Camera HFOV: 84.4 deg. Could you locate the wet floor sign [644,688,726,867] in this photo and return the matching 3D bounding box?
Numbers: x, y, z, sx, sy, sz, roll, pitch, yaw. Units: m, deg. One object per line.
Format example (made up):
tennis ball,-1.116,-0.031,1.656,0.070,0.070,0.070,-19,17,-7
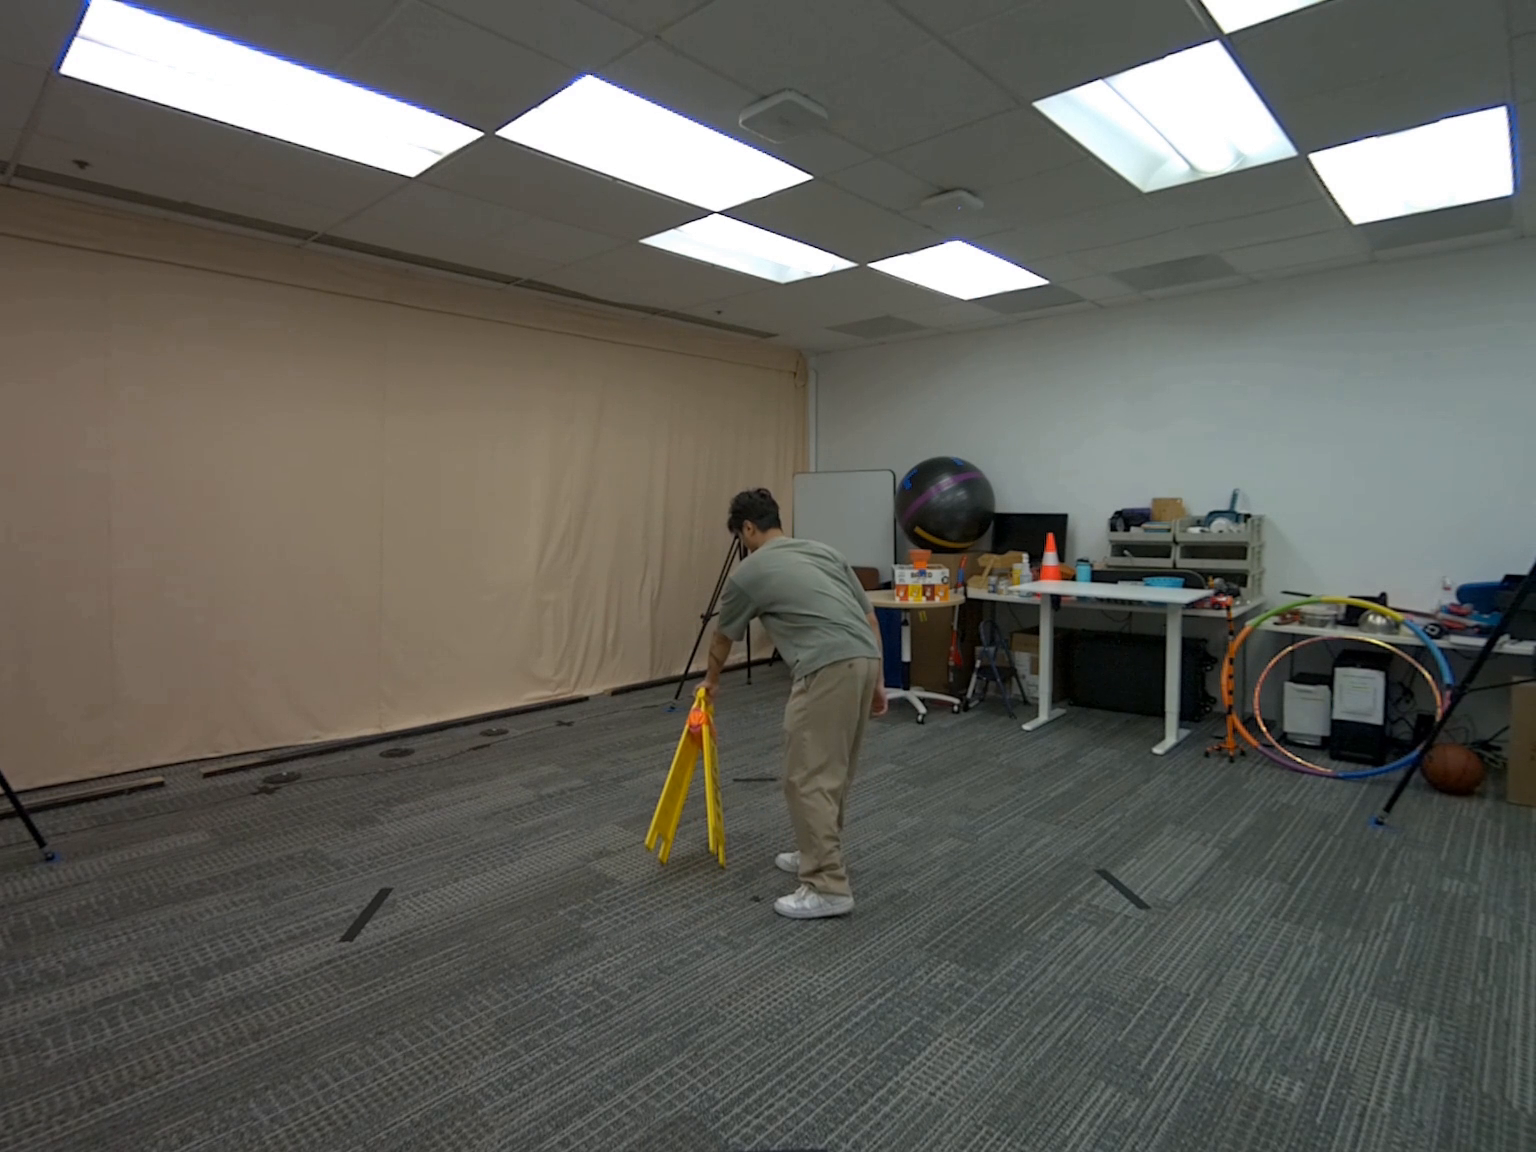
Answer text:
wet floor sign,-0.287,0.779,3.326,0.293,0.655,0.275,0,-32,9
